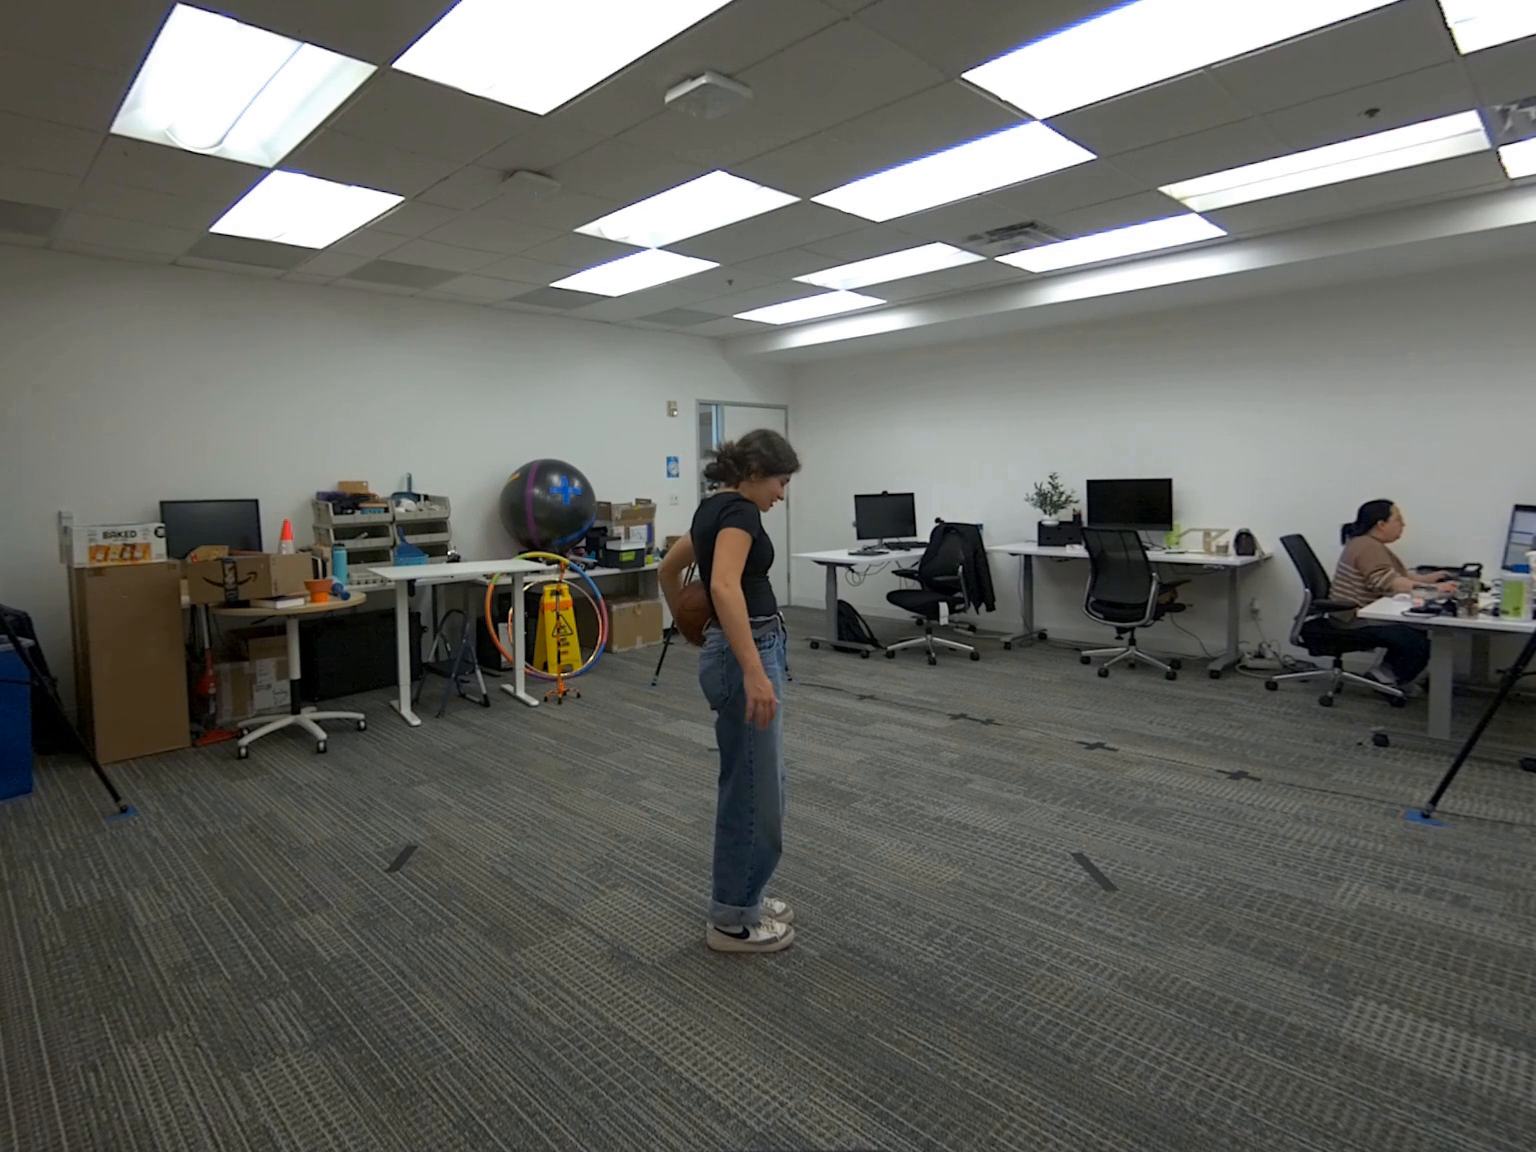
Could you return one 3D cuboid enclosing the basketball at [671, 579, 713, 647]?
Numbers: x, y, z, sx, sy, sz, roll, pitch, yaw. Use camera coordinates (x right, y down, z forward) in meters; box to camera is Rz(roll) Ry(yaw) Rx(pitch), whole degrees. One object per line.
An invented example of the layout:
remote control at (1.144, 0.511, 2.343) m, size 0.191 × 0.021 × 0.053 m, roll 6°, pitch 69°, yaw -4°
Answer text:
basketball at (-0.186, 0.126, 2.849) m, size 0.236 × 0.235 × 0.237 m, roll -1°, pitch 5°, yaw -2°
